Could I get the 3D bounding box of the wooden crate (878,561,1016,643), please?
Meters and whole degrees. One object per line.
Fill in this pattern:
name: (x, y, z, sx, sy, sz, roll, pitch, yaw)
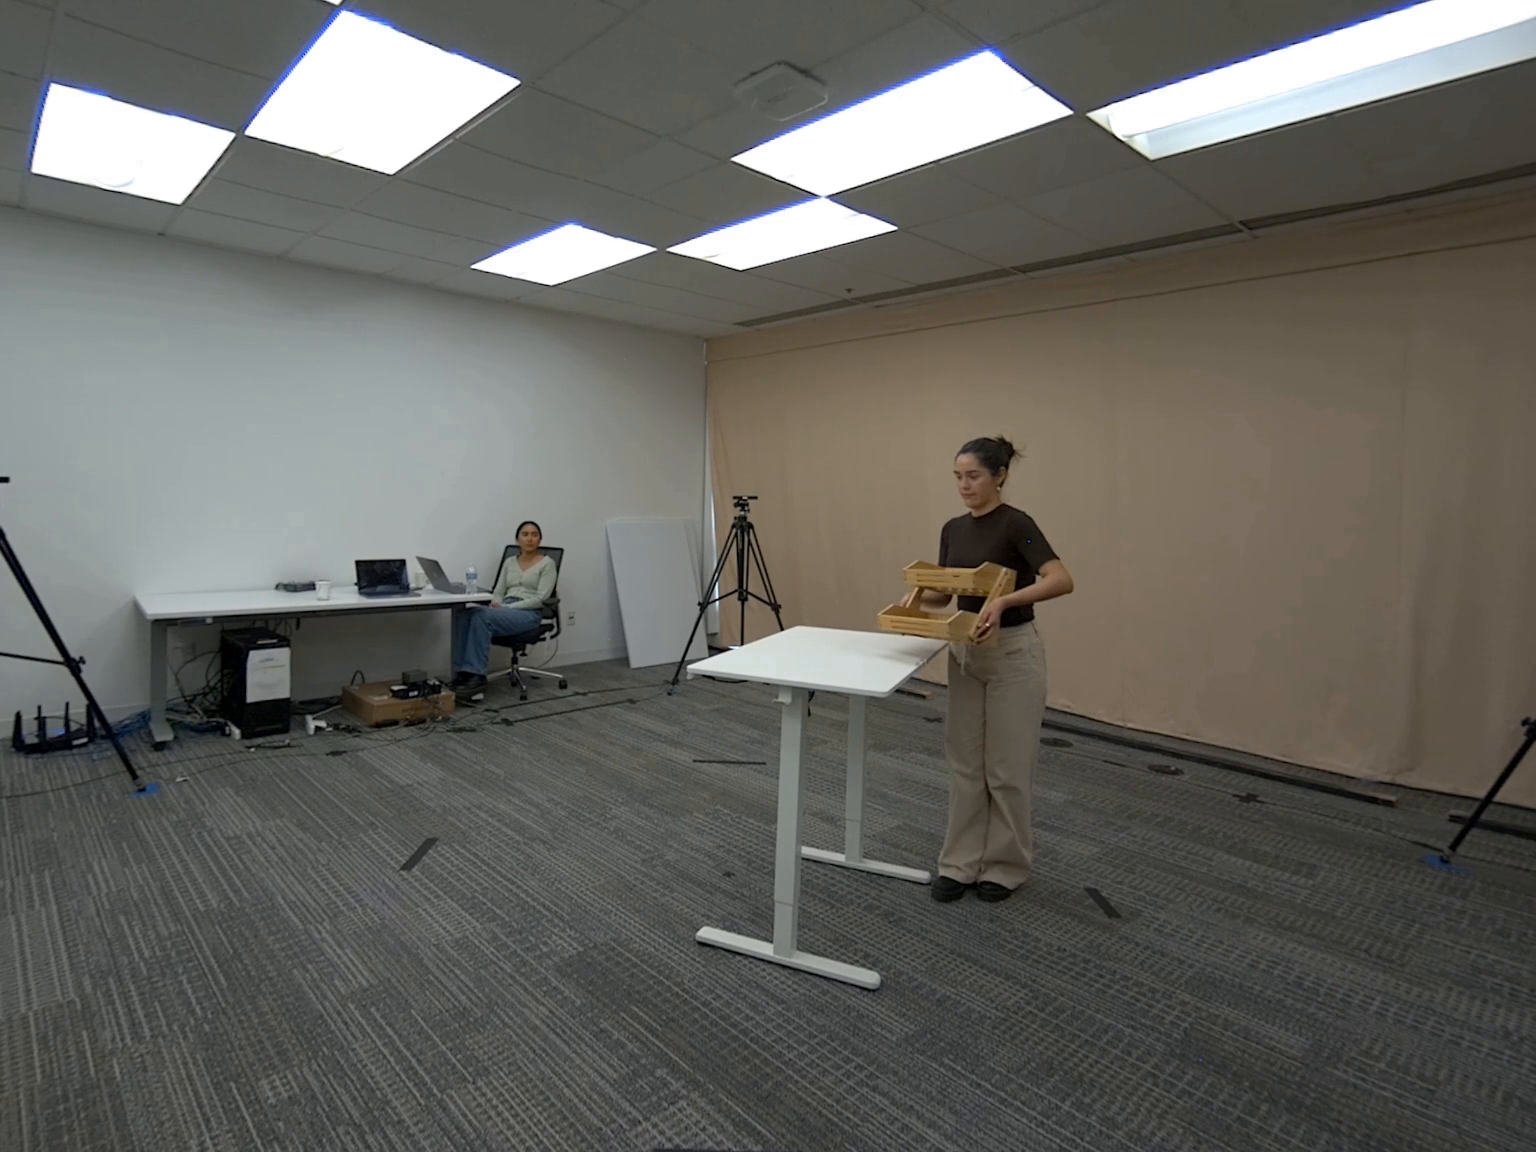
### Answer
wooden crate: (0.584, 0.078, 2.774, 0.294, 0.274, 0.332, 13, -7, -36)
